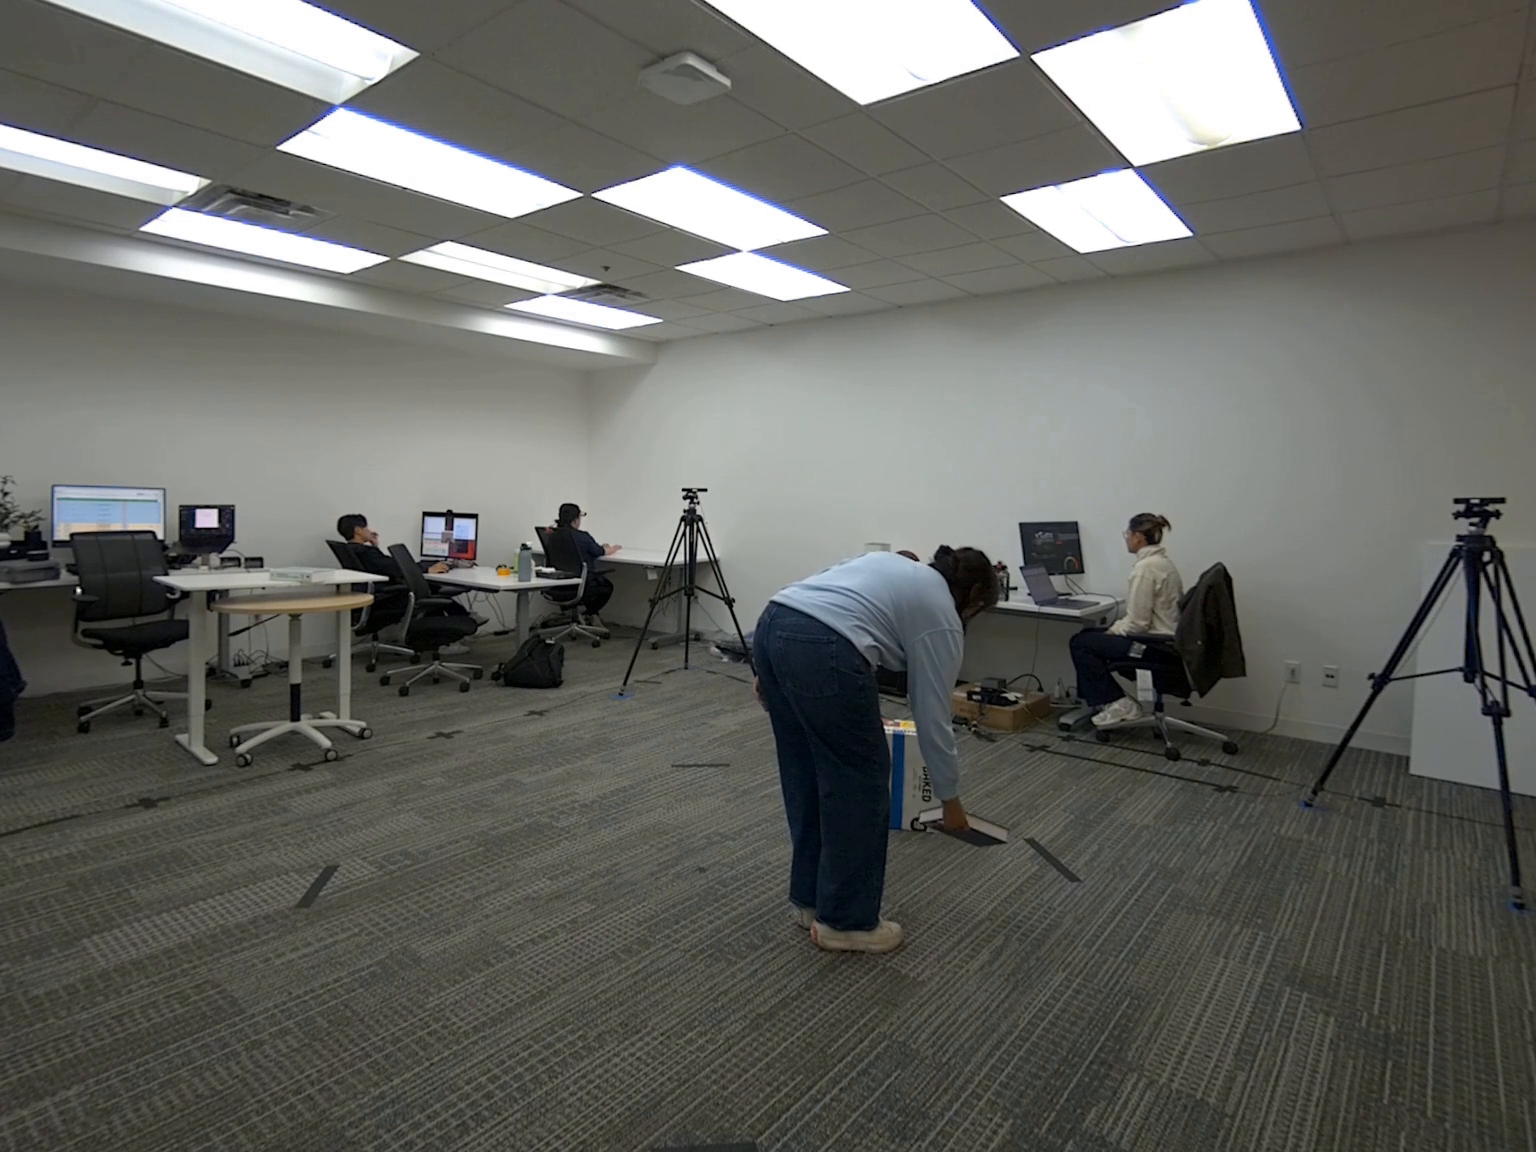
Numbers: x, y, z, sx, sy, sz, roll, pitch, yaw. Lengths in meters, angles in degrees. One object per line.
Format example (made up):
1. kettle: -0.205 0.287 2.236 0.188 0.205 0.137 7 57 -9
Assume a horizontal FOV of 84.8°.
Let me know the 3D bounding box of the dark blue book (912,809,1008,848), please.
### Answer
1. dark blue book: 0.649 0.827 2.835 0.242 0.046 0.163 24 -28 -11
